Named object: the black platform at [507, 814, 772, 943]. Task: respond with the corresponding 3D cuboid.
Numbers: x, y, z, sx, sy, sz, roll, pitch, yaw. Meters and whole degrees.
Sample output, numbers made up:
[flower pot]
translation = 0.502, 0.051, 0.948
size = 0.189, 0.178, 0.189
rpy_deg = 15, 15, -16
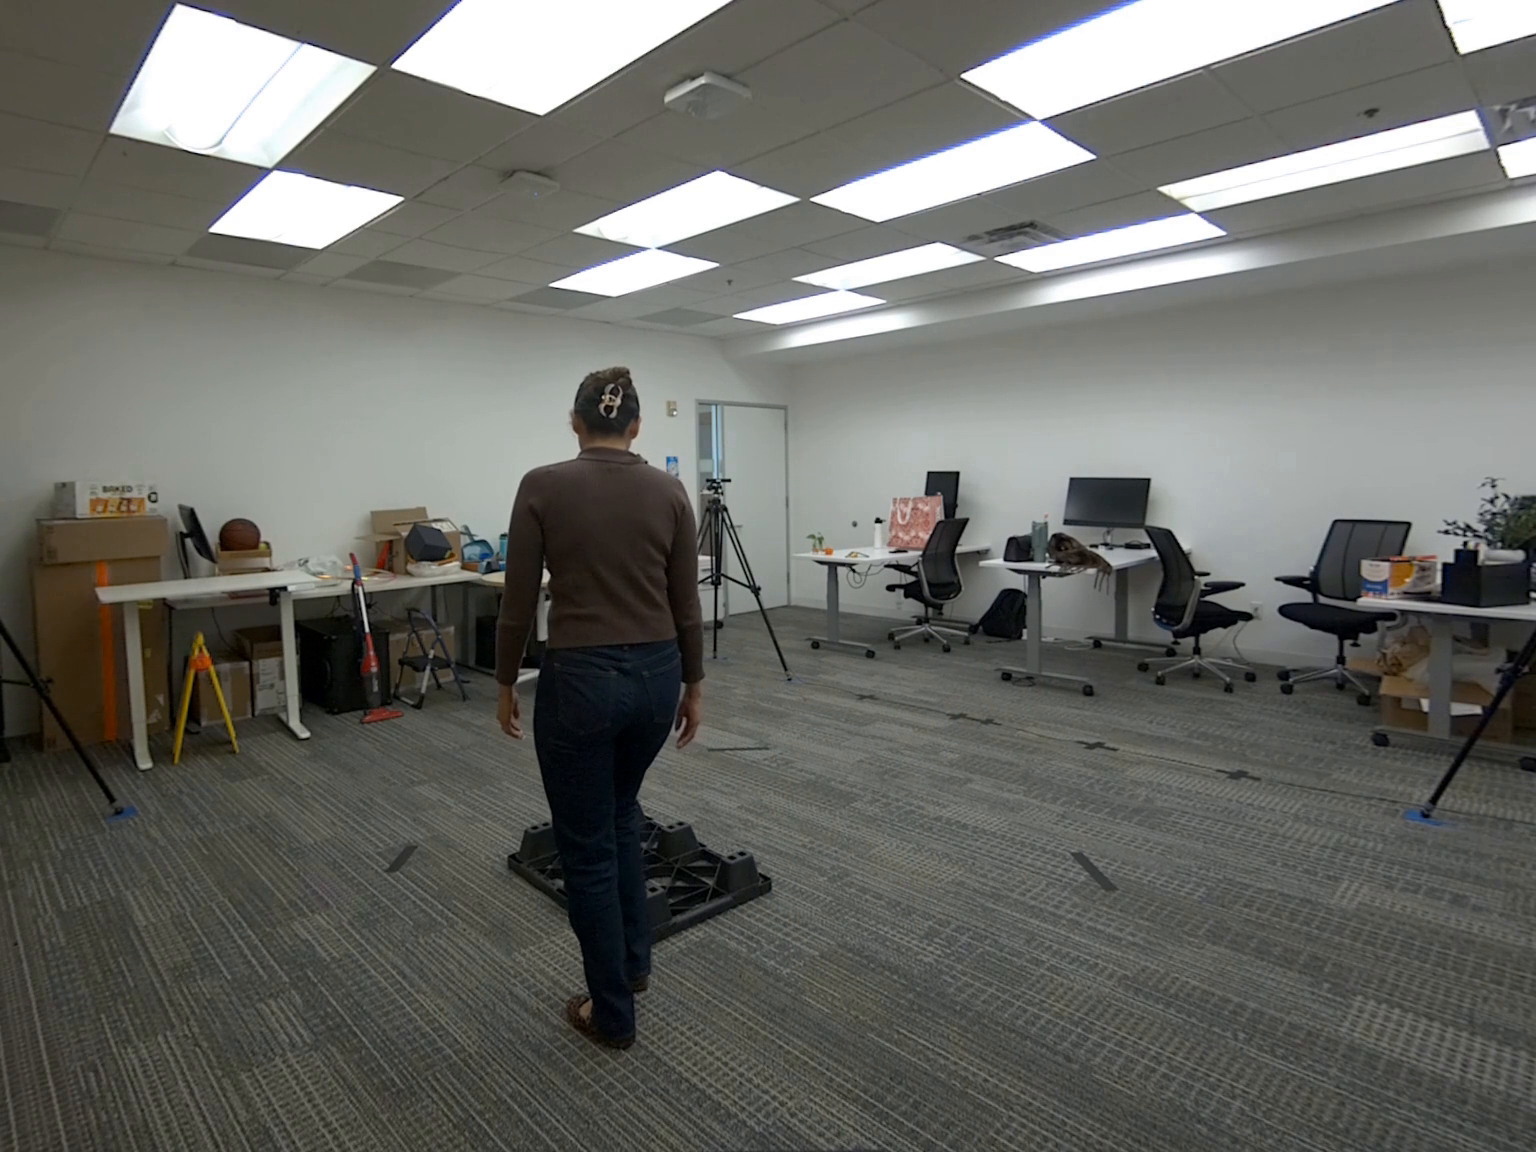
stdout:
[black platform]
translation = -0.461, 0.998, 3.007
size = 0.590, 0.142, 0.831
rpy_deg = -7, 9, -41
